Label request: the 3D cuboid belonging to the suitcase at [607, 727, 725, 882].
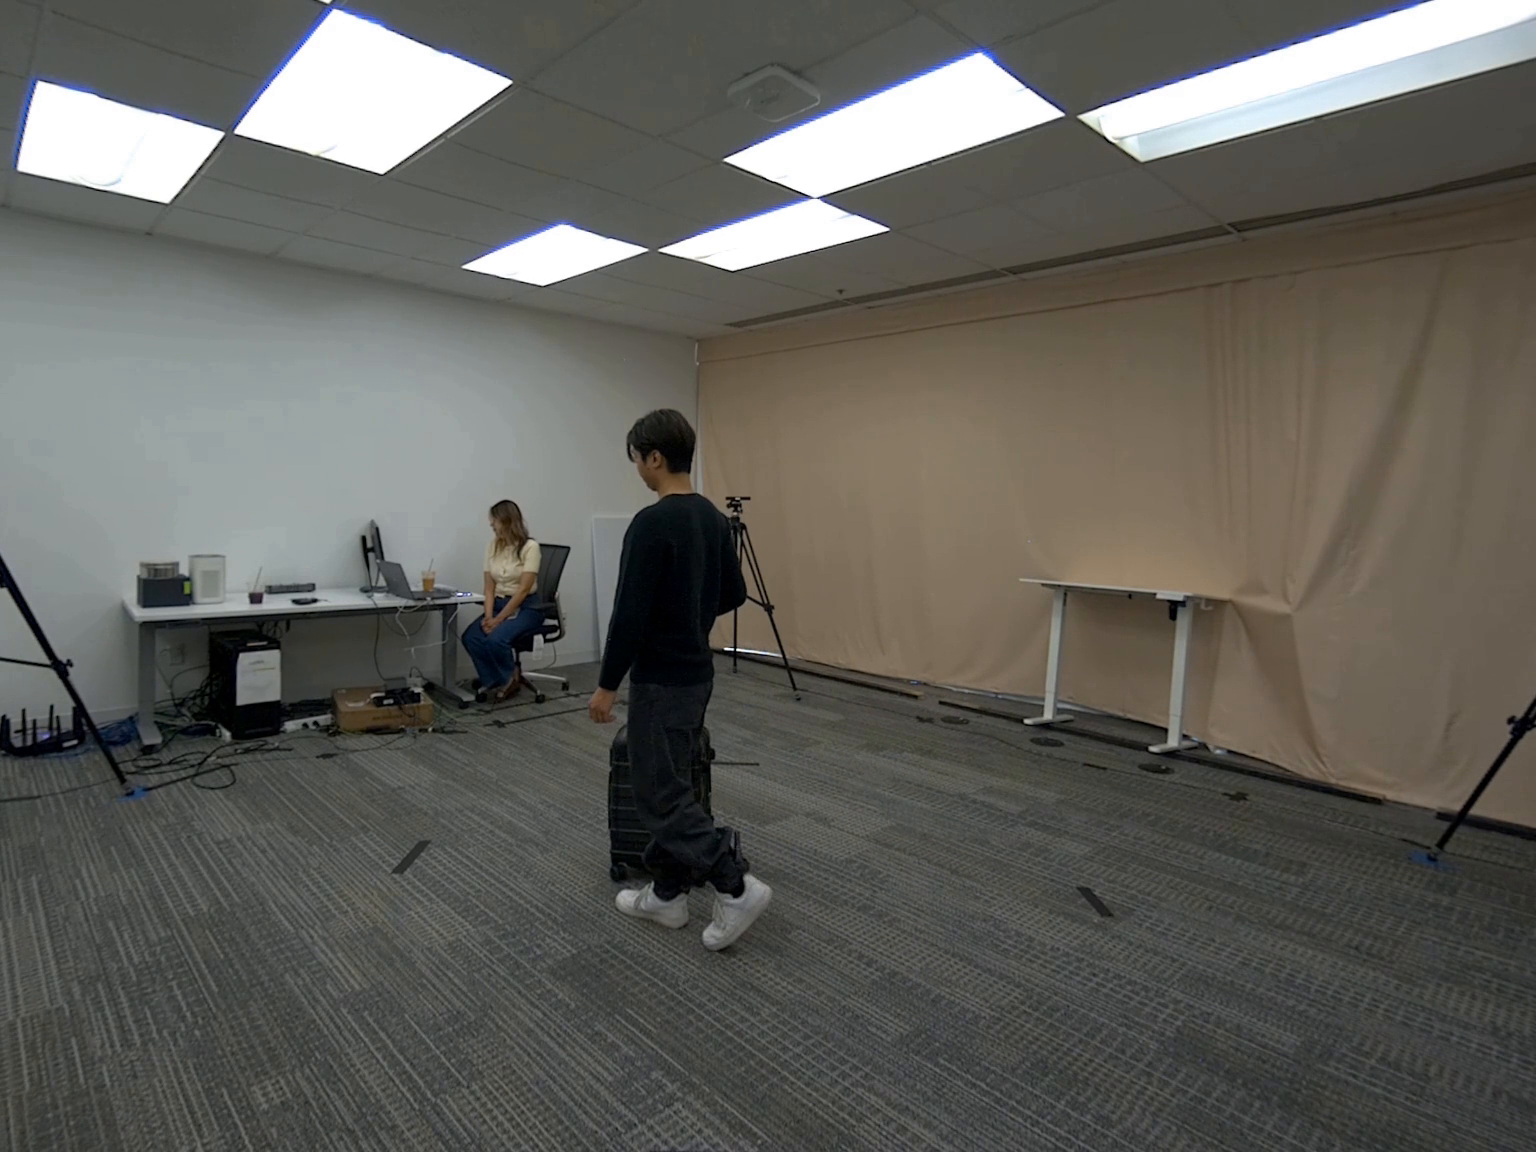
[{"bbox_3d":[-0.404,0.627,3.144,0.386,0.980,0.255,0,-2,5],"label":"suitcase"}]
